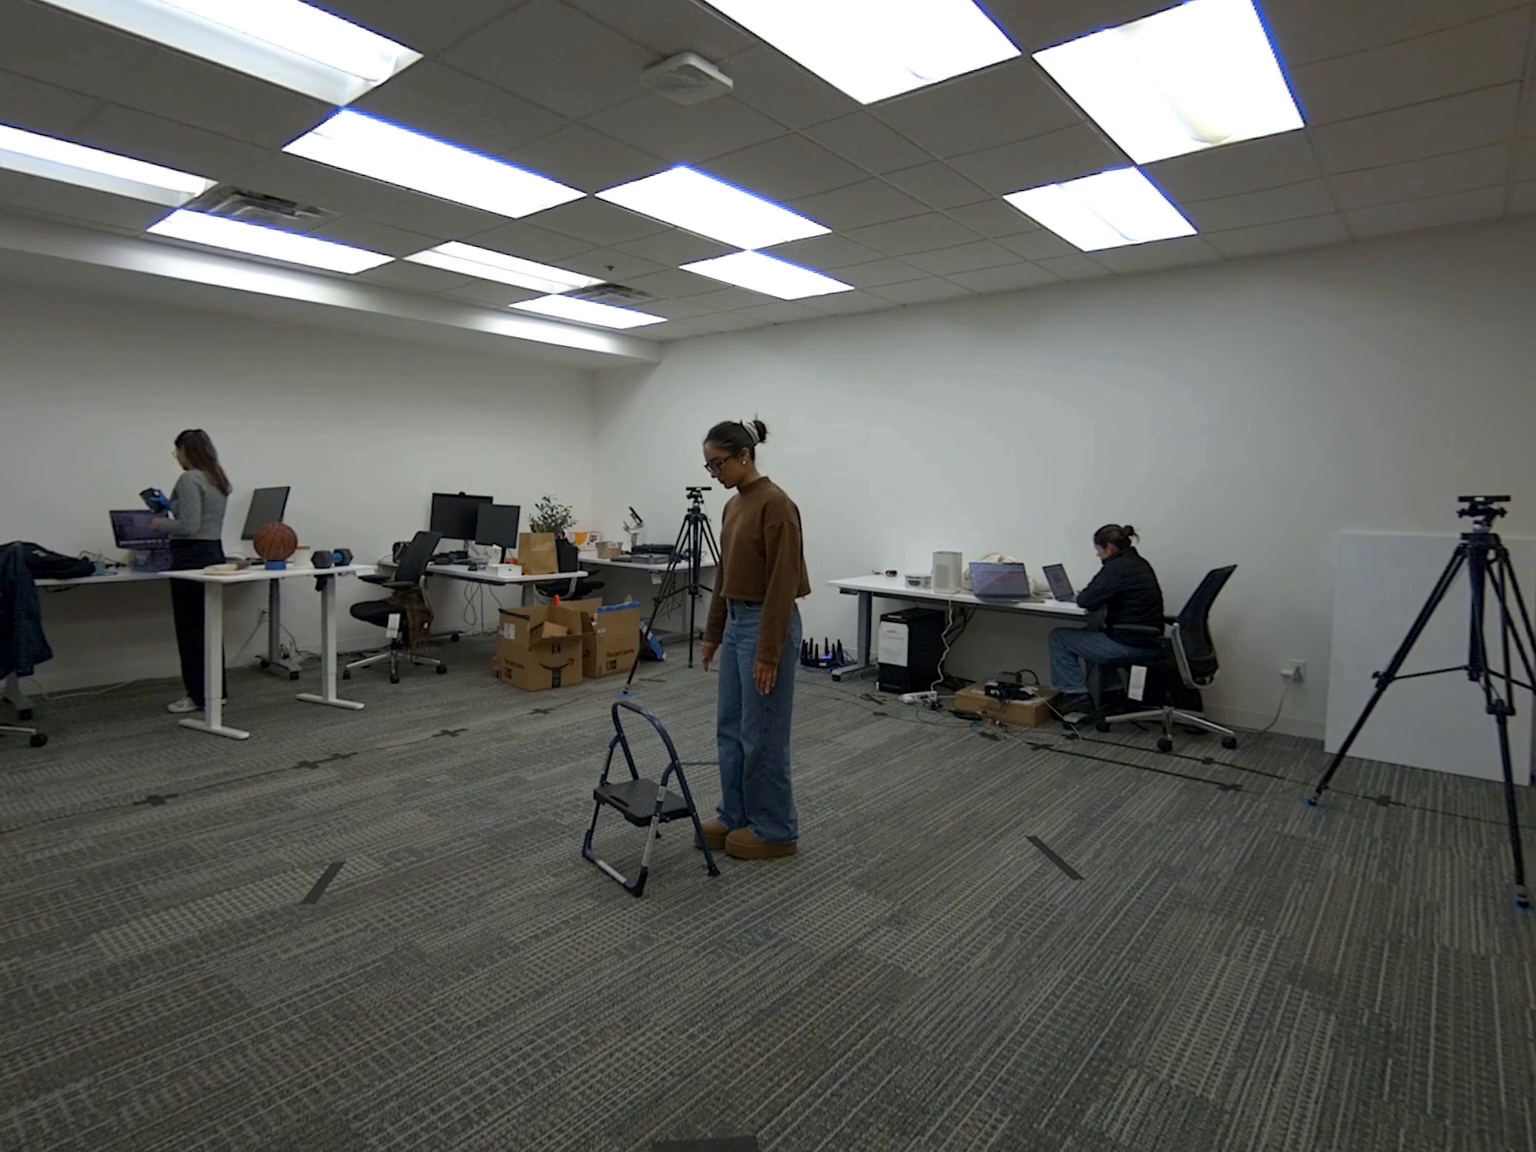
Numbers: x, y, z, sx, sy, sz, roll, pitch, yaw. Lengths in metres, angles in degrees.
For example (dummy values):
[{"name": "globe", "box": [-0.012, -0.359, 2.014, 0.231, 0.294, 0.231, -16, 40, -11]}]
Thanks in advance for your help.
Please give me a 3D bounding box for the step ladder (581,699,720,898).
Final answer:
[{"name": "step ladder", "box": [-0.442, 0.760, 3.116, 0.339, 0.604, 0.445, -1, 4, -39]}]
